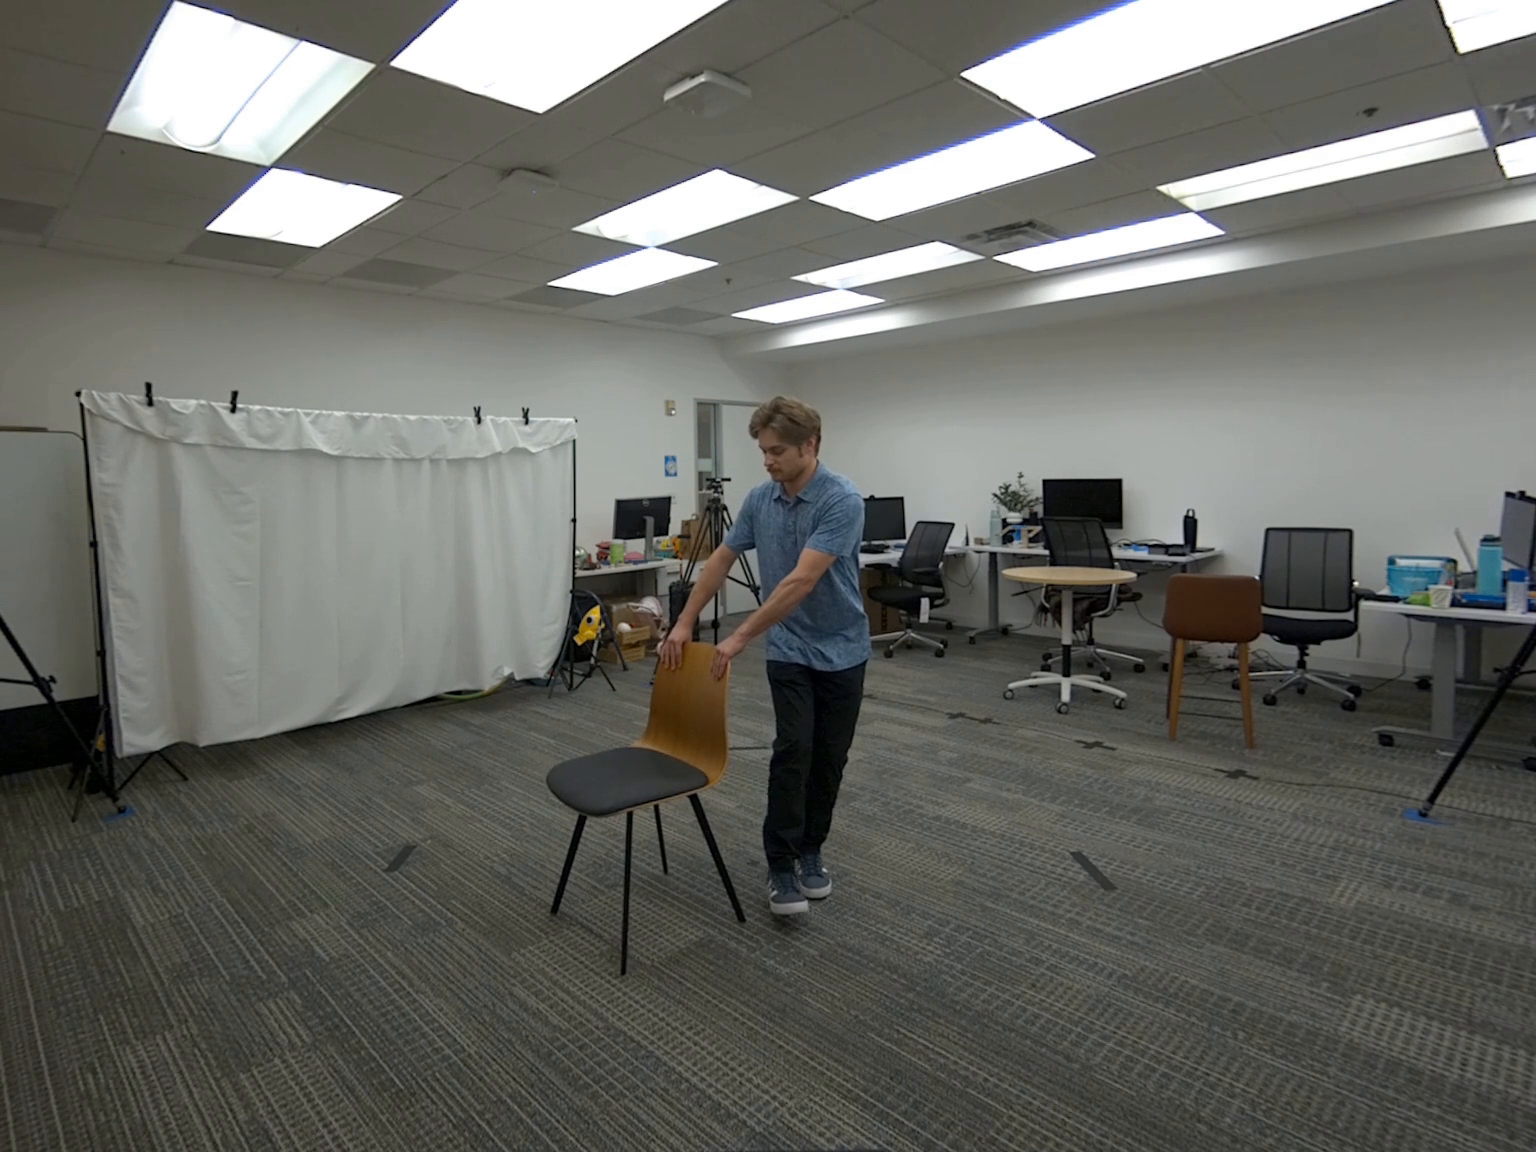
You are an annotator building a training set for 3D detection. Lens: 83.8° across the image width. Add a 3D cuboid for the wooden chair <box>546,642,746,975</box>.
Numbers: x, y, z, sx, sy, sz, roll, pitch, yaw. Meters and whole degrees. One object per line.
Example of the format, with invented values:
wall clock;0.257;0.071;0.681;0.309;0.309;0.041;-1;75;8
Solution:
wooden chair;-0.398;0.669;2.687;0.508;0.876;0.493;1;2;-39
